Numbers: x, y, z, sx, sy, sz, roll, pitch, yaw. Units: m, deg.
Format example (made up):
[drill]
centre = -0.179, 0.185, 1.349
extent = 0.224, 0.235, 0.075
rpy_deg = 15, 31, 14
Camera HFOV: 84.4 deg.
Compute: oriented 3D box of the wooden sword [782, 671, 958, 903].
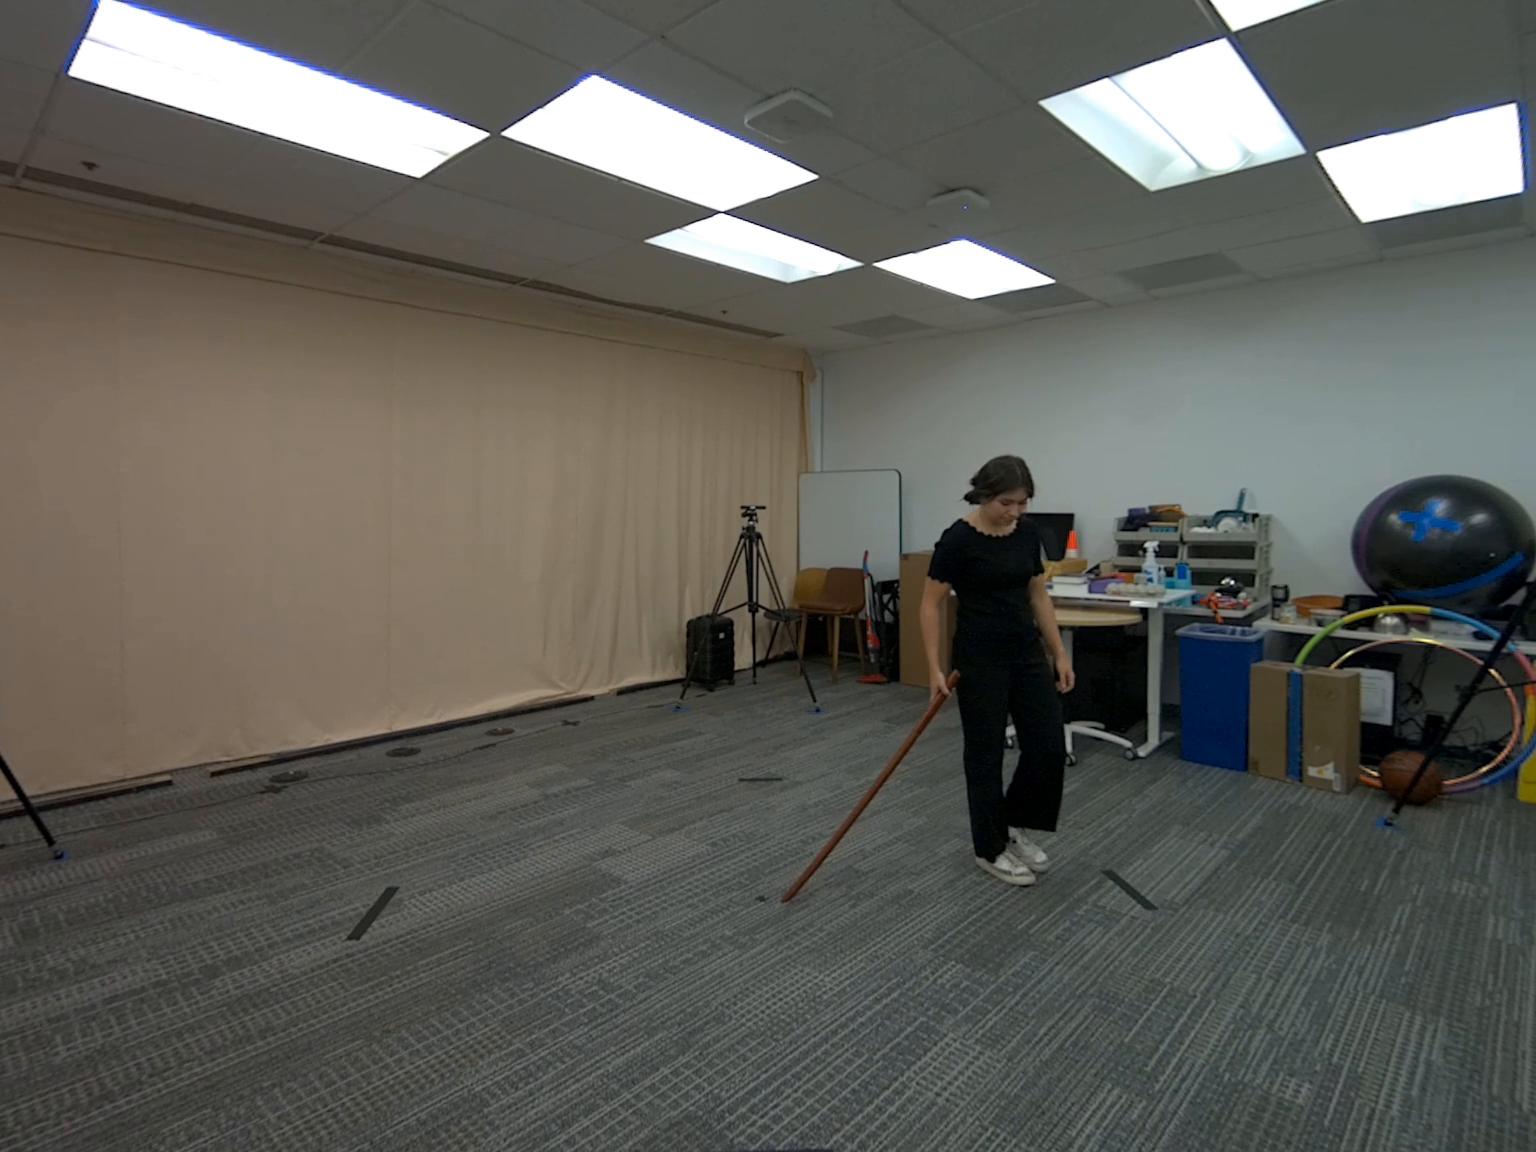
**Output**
[wooden sword]
centre = 0.390, 0.771, 3.018
extent = 0.050, 1.023, 0.025
rpy_deg = 44, -6, -23
